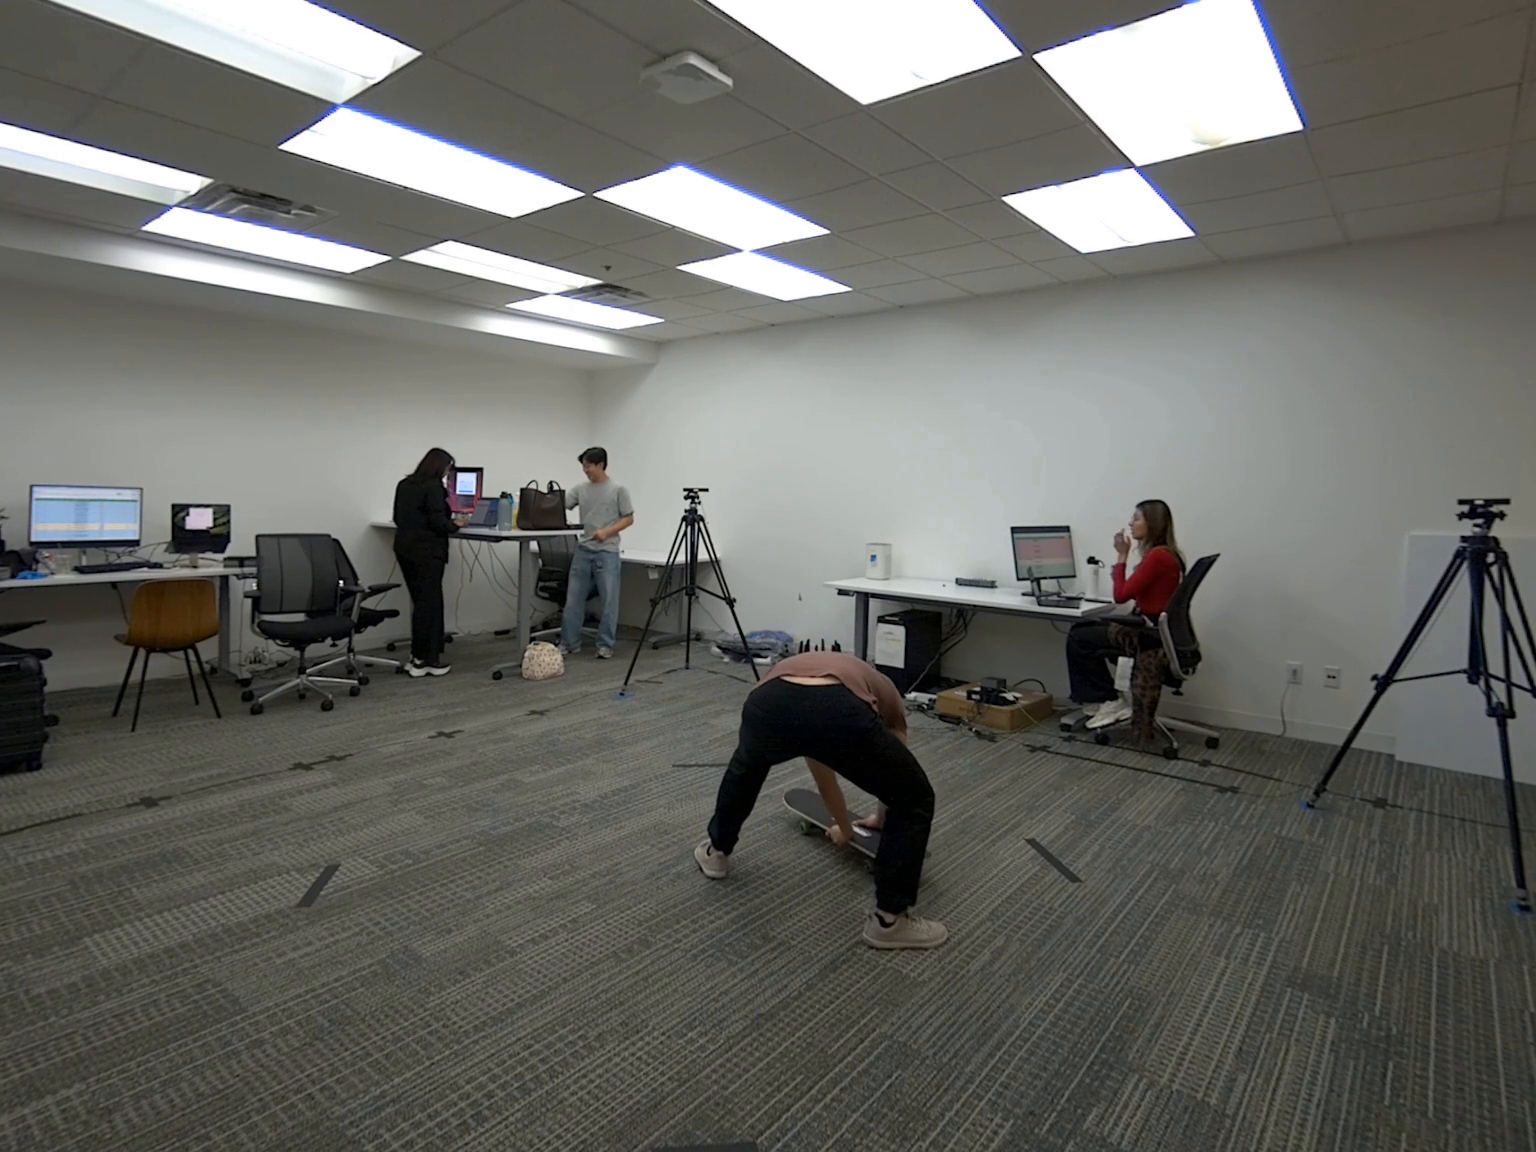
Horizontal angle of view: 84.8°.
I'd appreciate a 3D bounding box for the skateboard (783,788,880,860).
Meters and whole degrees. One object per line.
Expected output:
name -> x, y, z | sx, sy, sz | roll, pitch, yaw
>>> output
skateboard -> 0.312, 1.001, 3.317 | 0.188, 0.110, 0.811 | -4, 8, -32
